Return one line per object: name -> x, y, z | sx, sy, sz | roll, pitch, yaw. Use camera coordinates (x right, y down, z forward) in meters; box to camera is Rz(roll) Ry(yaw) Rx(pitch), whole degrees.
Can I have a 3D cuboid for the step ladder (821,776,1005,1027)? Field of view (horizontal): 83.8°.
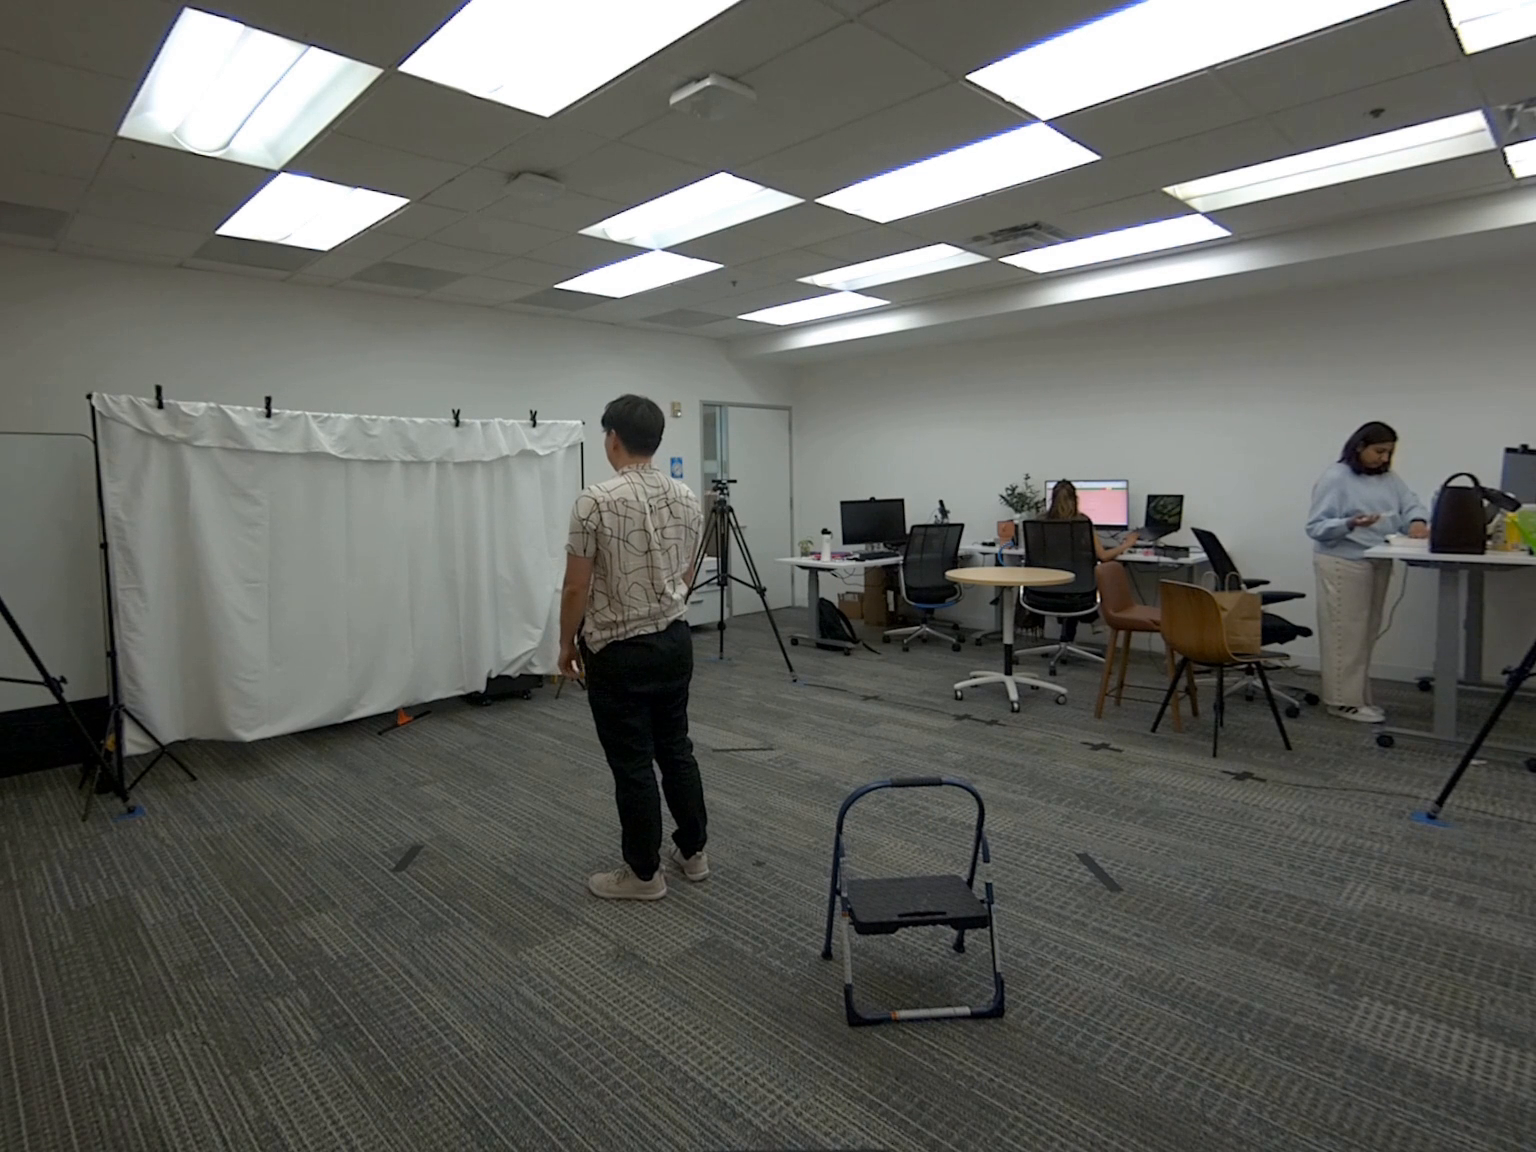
step ladder -> 0.390, 0.828, 2.335 | 0.428, 0.604, 0.352 | -1, 4, -6
